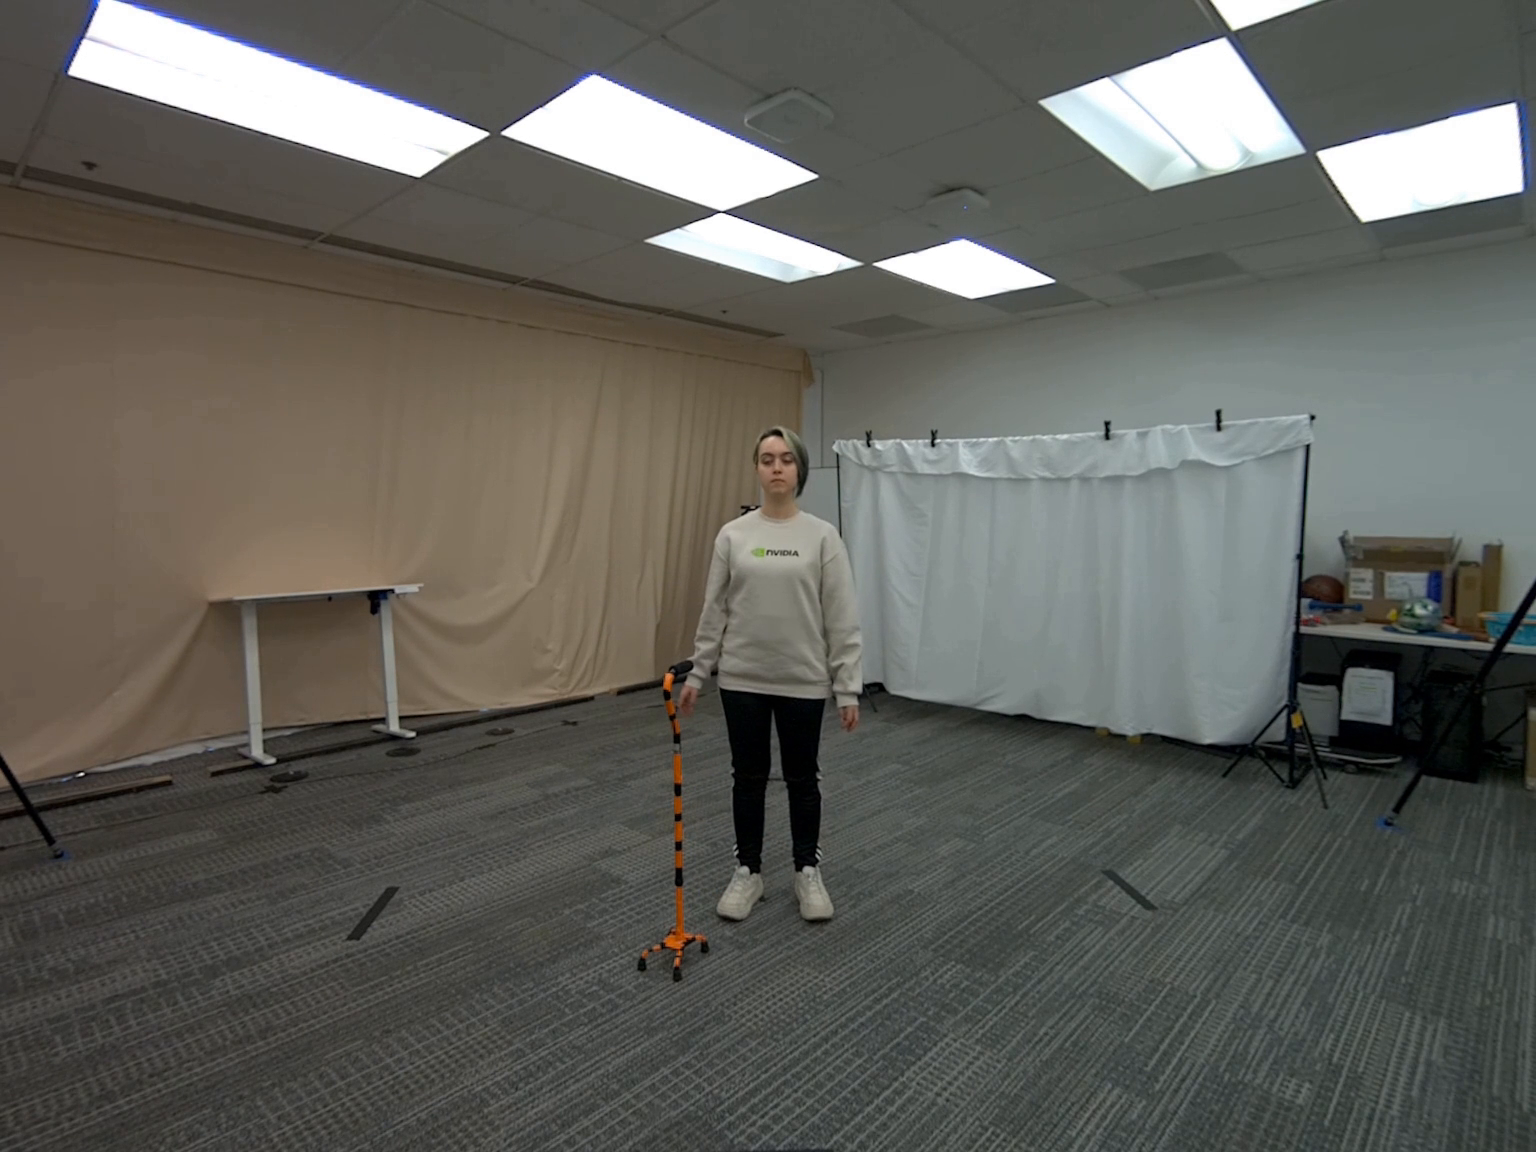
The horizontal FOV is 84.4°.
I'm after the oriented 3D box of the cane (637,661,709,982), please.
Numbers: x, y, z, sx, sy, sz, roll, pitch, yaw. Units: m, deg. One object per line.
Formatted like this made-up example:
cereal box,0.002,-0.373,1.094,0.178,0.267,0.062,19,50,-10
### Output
cane,-0.285,0.727,2.556,0.155,0.906,0.202,1,4,23
